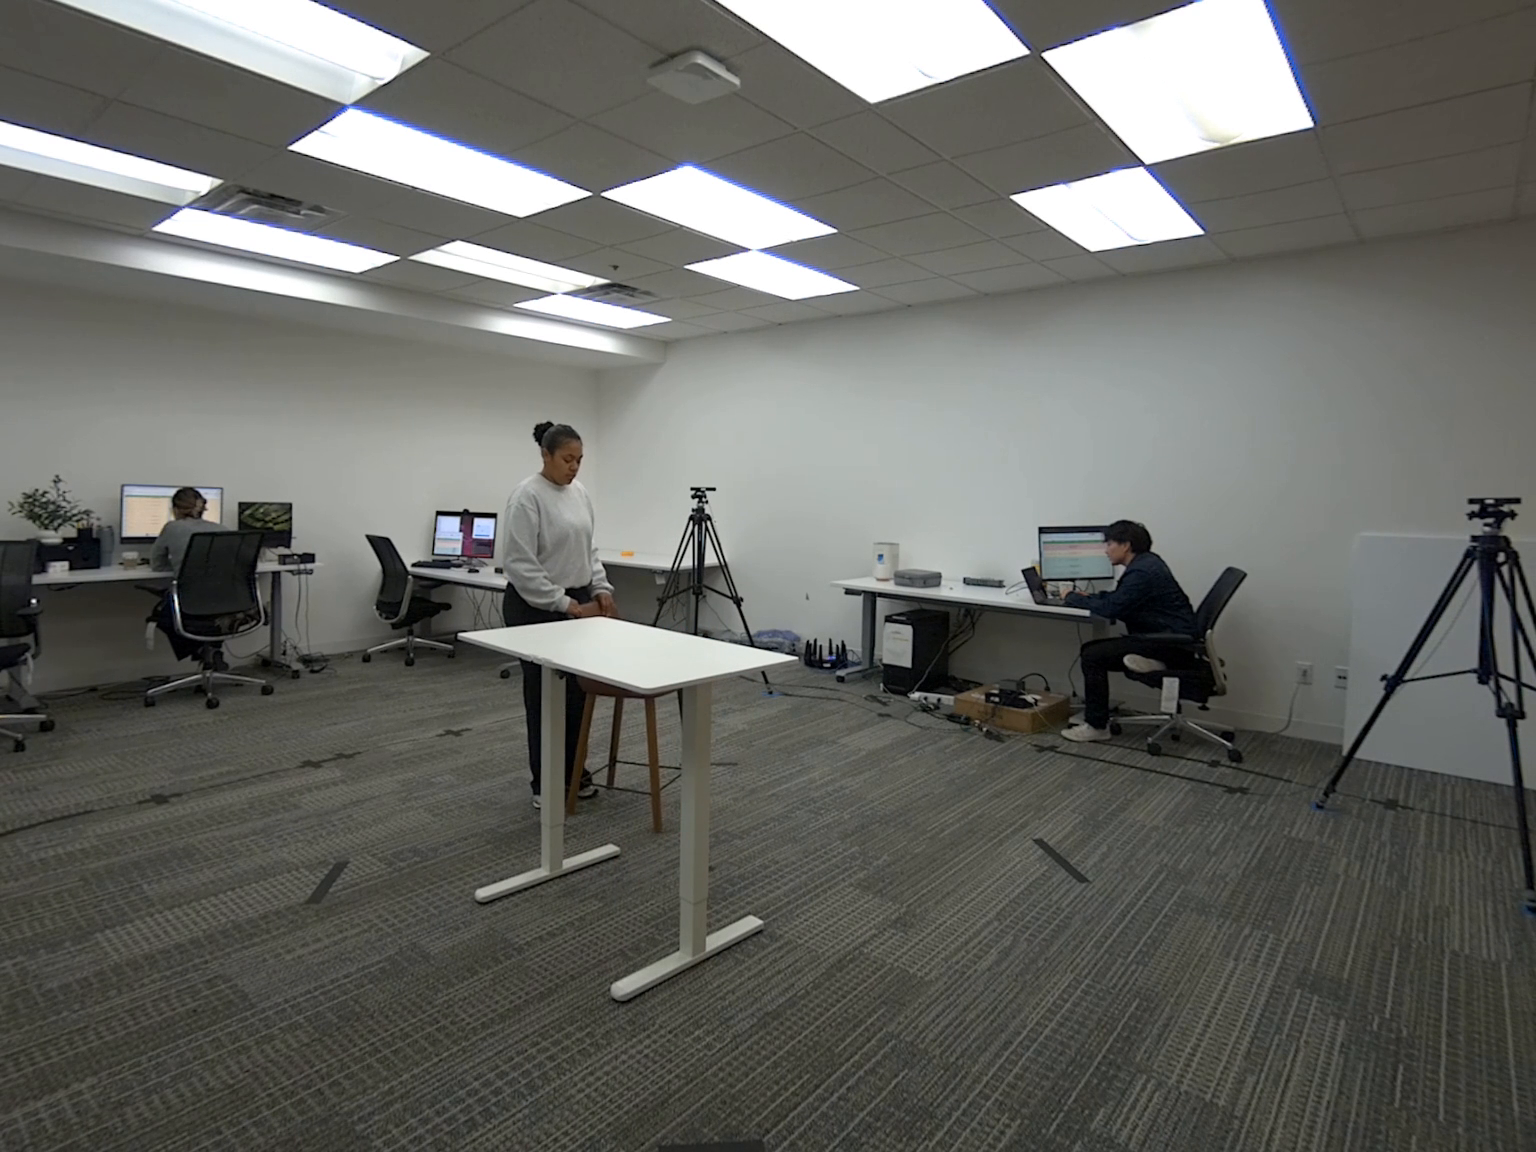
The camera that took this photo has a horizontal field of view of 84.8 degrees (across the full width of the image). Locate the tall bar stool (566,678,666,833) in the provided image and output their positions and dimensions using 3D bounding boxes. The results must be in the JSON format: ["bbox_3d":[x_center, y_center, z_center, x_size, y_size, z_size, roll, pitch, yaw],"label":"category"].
[{"bbox_3d":[-0.597,0.567,3.664,0.478,0.888,0.447,-1,2,22],"label":"tall bar stool"}]
